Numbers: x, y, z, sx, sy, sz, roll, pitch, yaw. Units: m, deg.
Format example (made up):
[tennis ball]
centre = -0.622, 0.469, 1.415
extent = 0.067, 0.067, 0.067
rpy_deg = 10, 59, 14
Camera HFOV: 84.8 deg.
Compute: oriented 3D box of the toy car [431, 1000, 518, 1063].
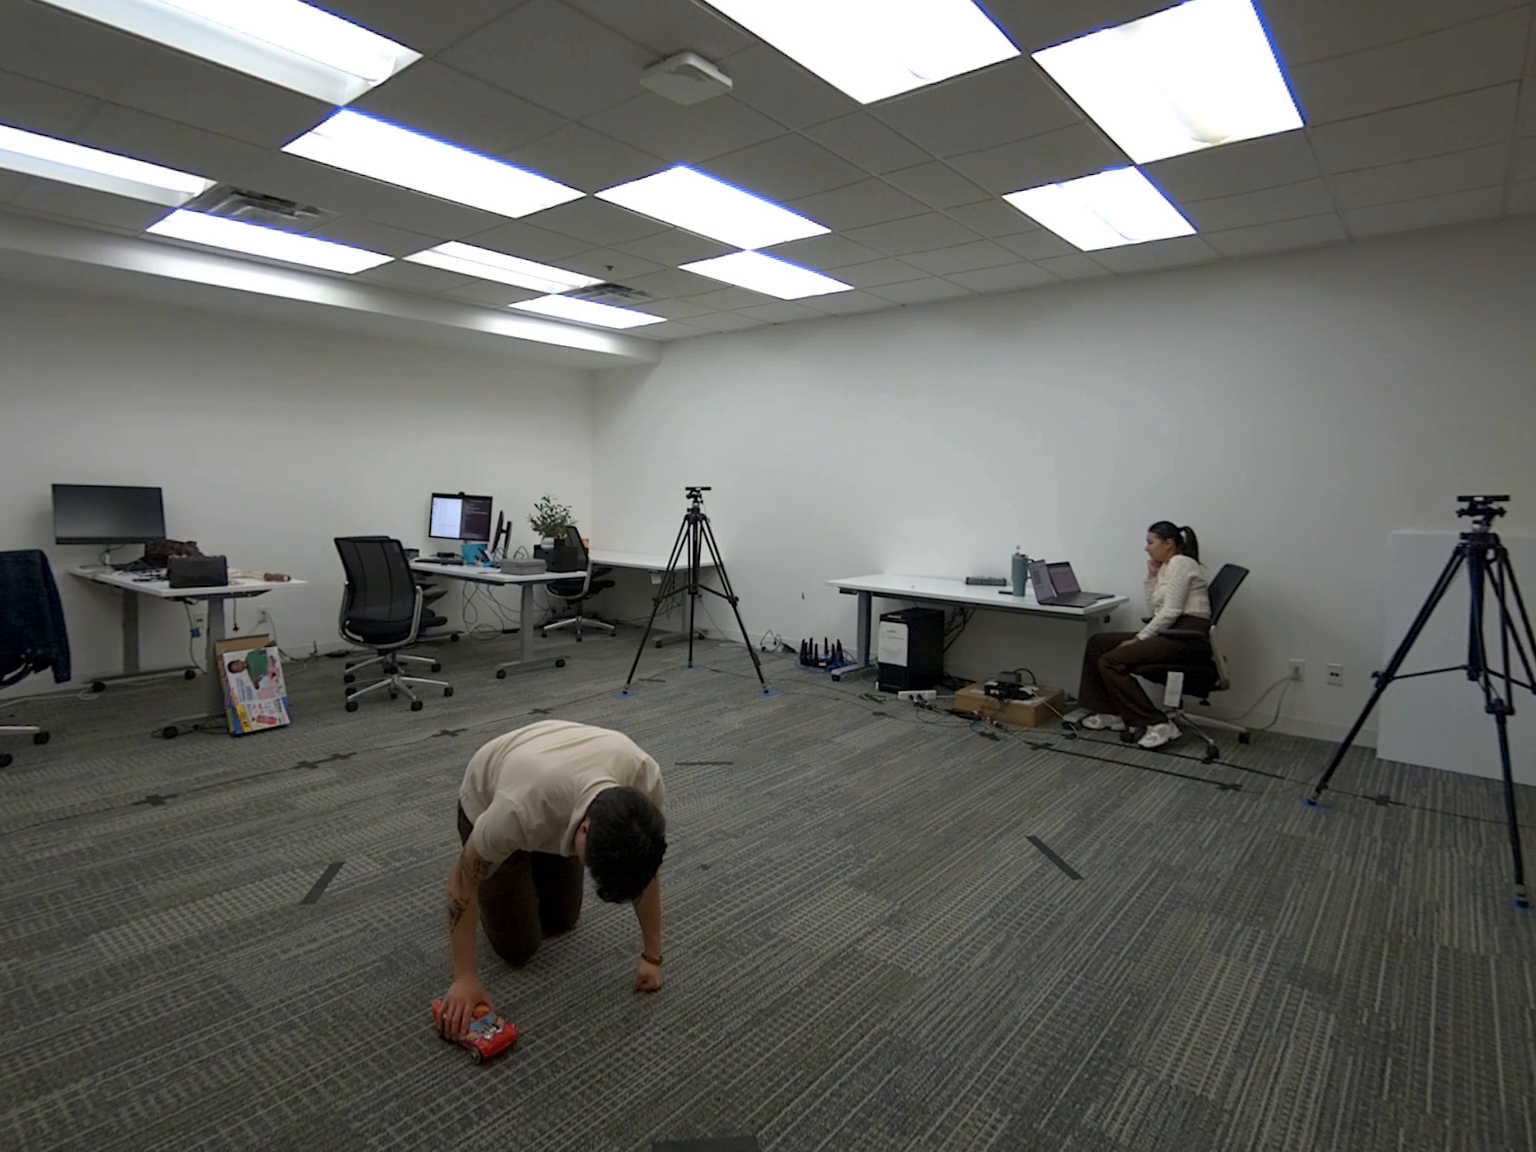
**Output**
[toy car]
centre = -0.757, 1.128, 2.139
extent = 0.264, 0.082, 0.126
rpy_deg = 16, 13, 37
